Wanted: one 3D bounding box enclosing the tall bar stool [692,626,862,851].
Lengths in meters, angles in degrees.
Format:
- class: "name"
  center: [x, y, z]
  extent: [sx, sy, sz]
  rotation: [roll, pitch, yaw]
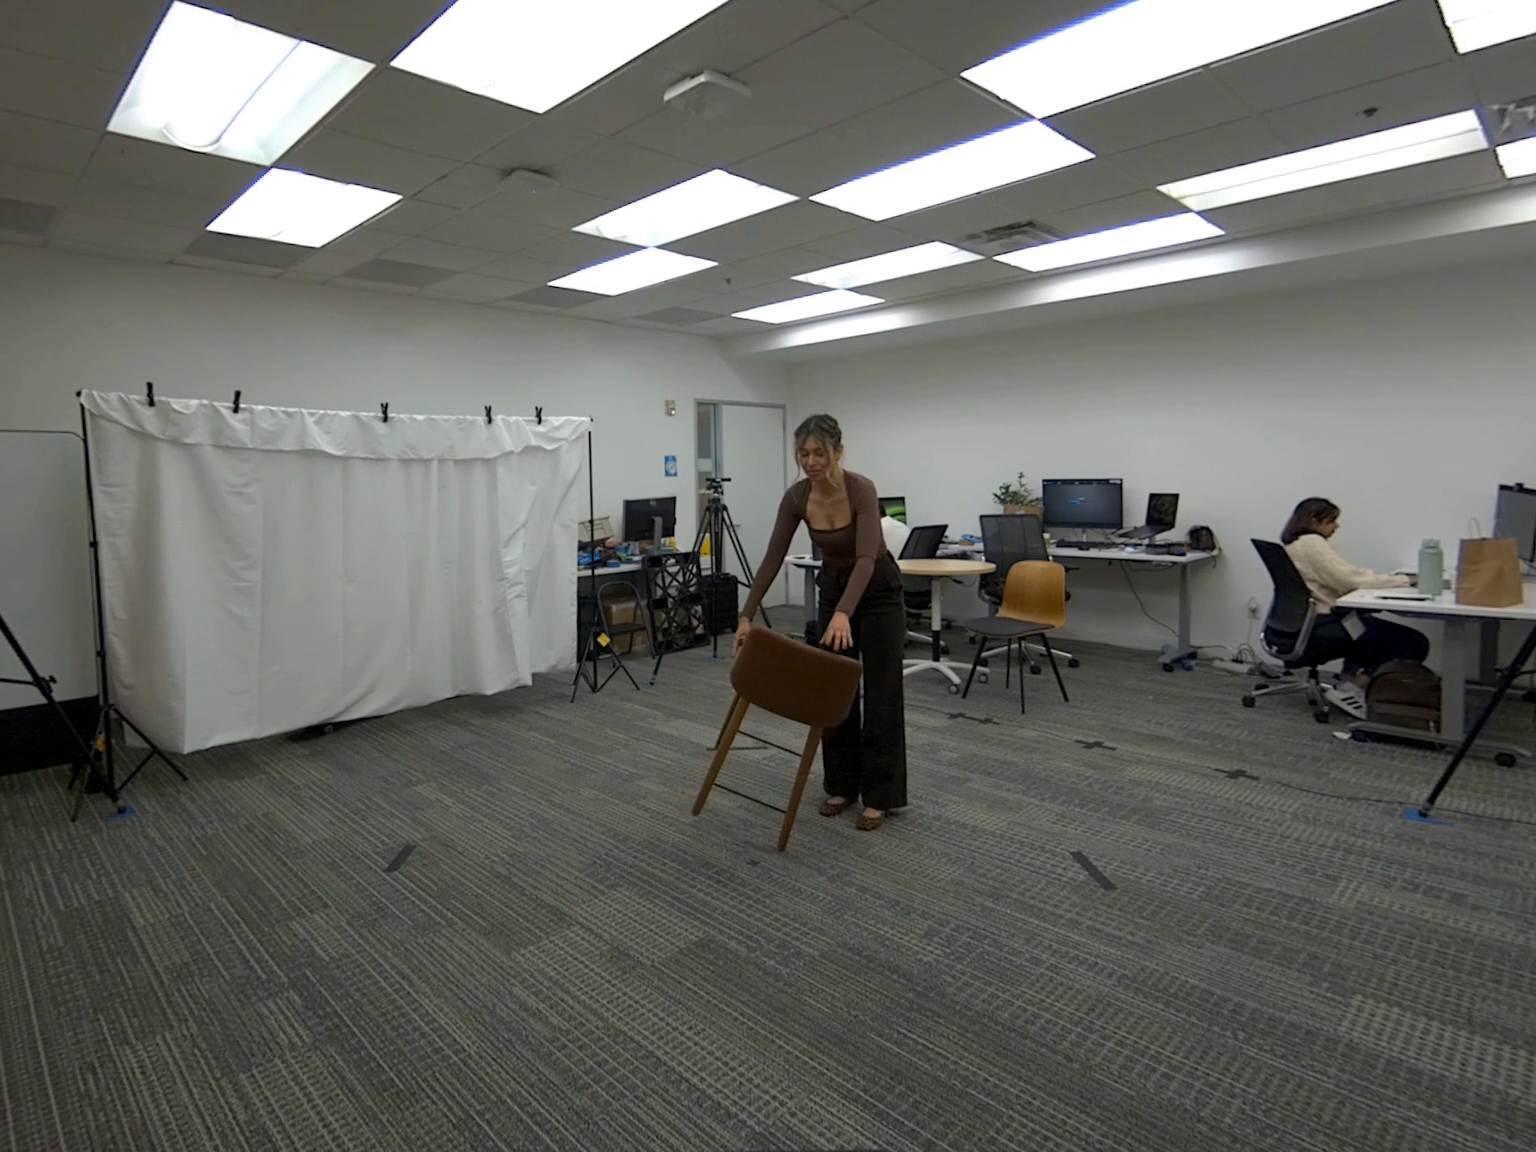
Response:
- class: "tall bar stool"
  center: [0.047, 0.520, 3.246]
  extent: [0.461, 0.878, 0.470]
  rotation: [21, 26, 6]
